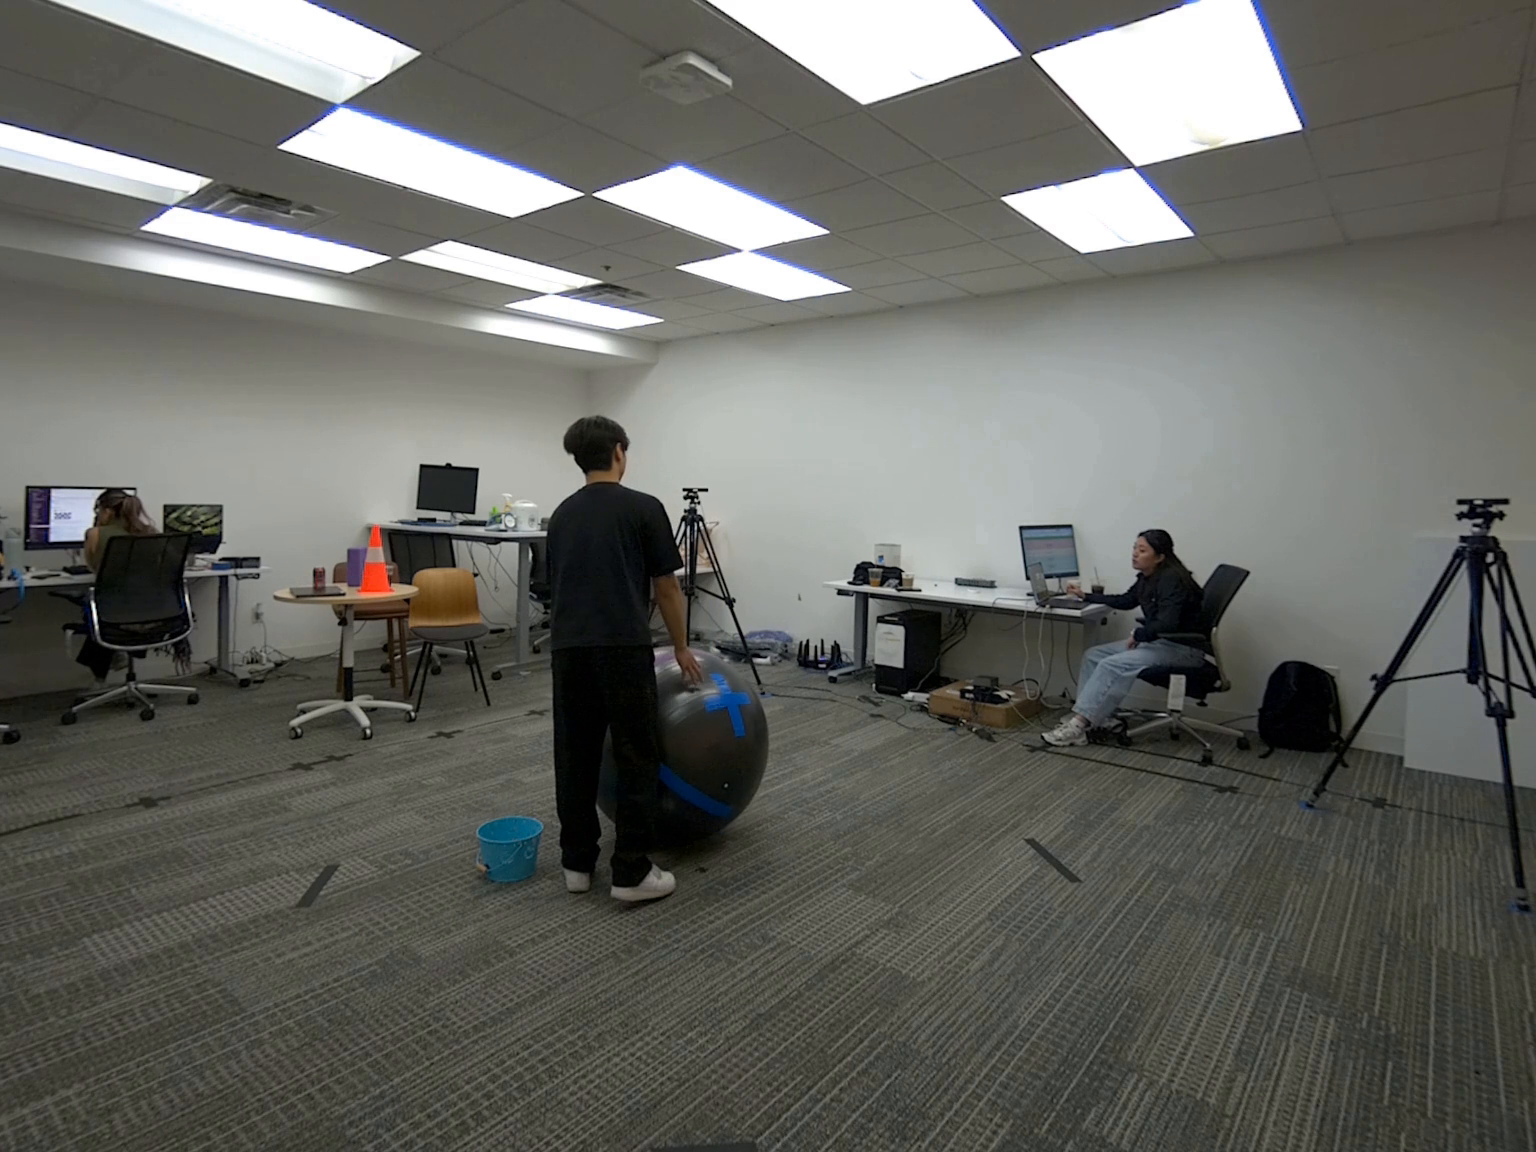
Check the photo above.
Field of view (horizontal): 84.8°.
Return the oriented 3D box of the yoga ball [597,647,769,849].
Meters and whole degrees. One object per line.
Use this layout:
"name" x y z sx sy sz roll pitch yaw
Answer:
"yoga ball" -0.380 0.667 3.410 0.757 0.755 0.762 1 4 -2
